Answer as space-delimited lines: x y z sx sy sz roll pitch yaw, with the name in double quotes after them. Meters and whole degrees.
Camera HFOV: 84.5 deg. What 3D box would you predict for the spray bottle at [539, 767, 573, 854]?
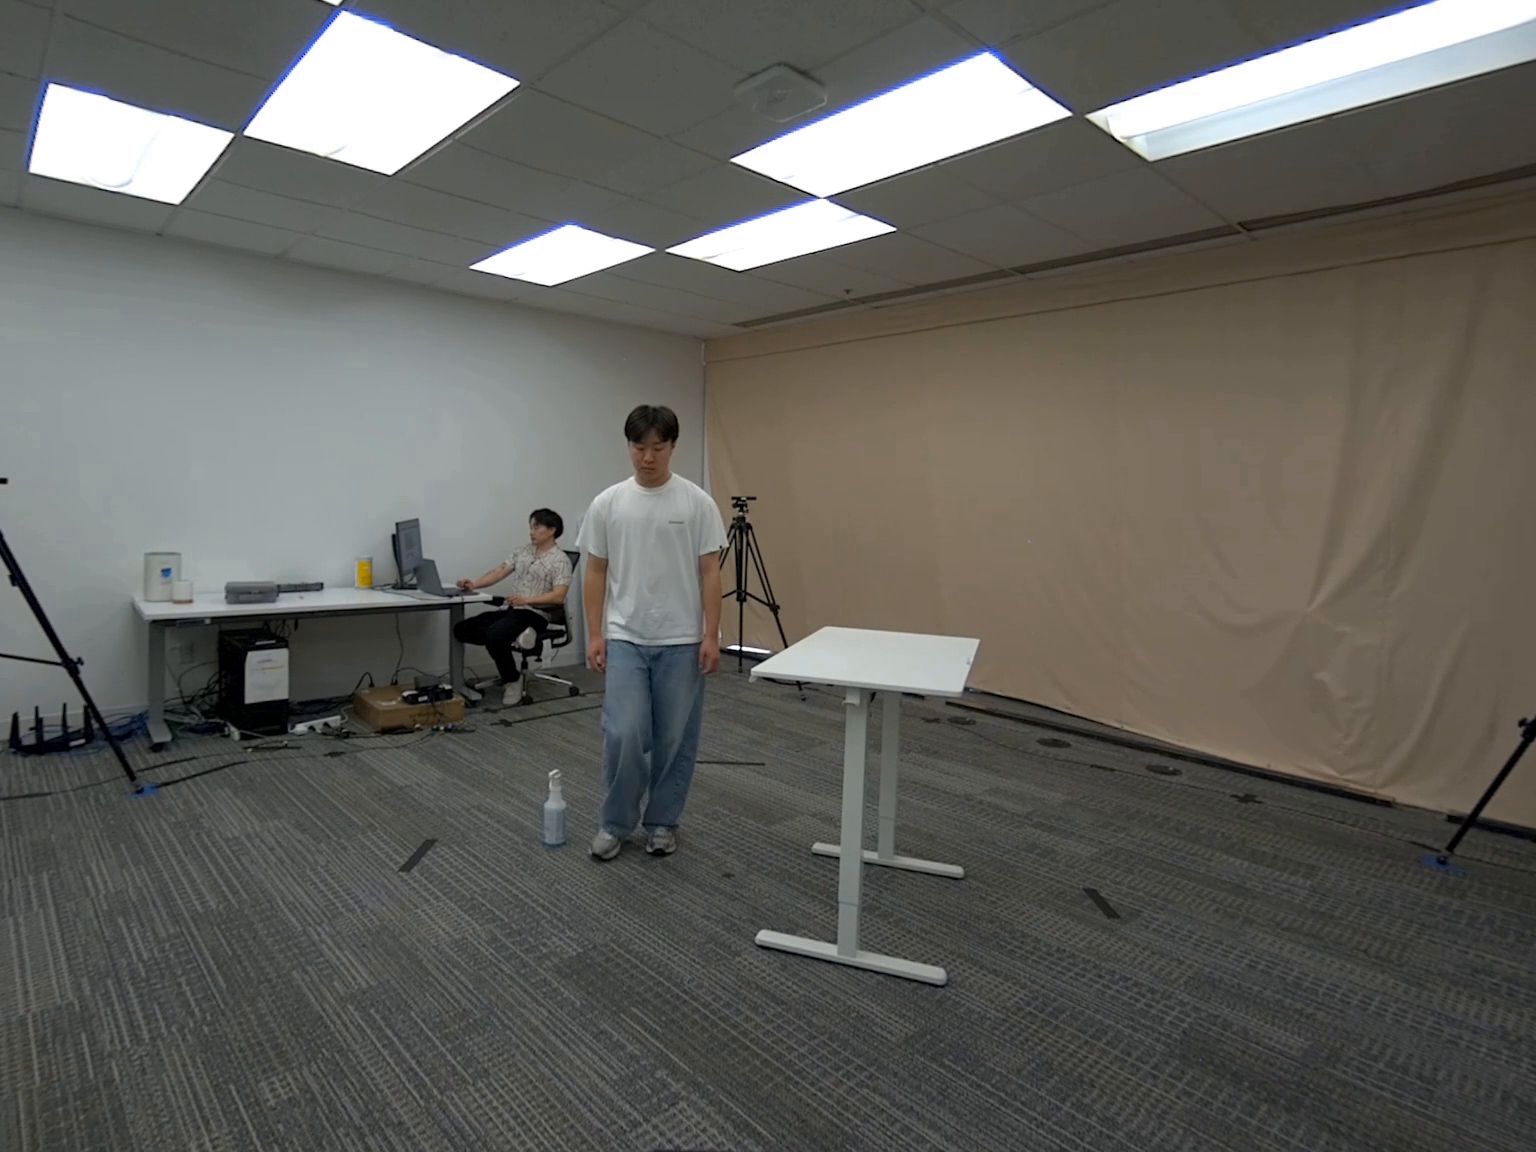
-0.842 0.923 3.348 0.089 0.296 0.088 5 6 36 "spray bottle"
